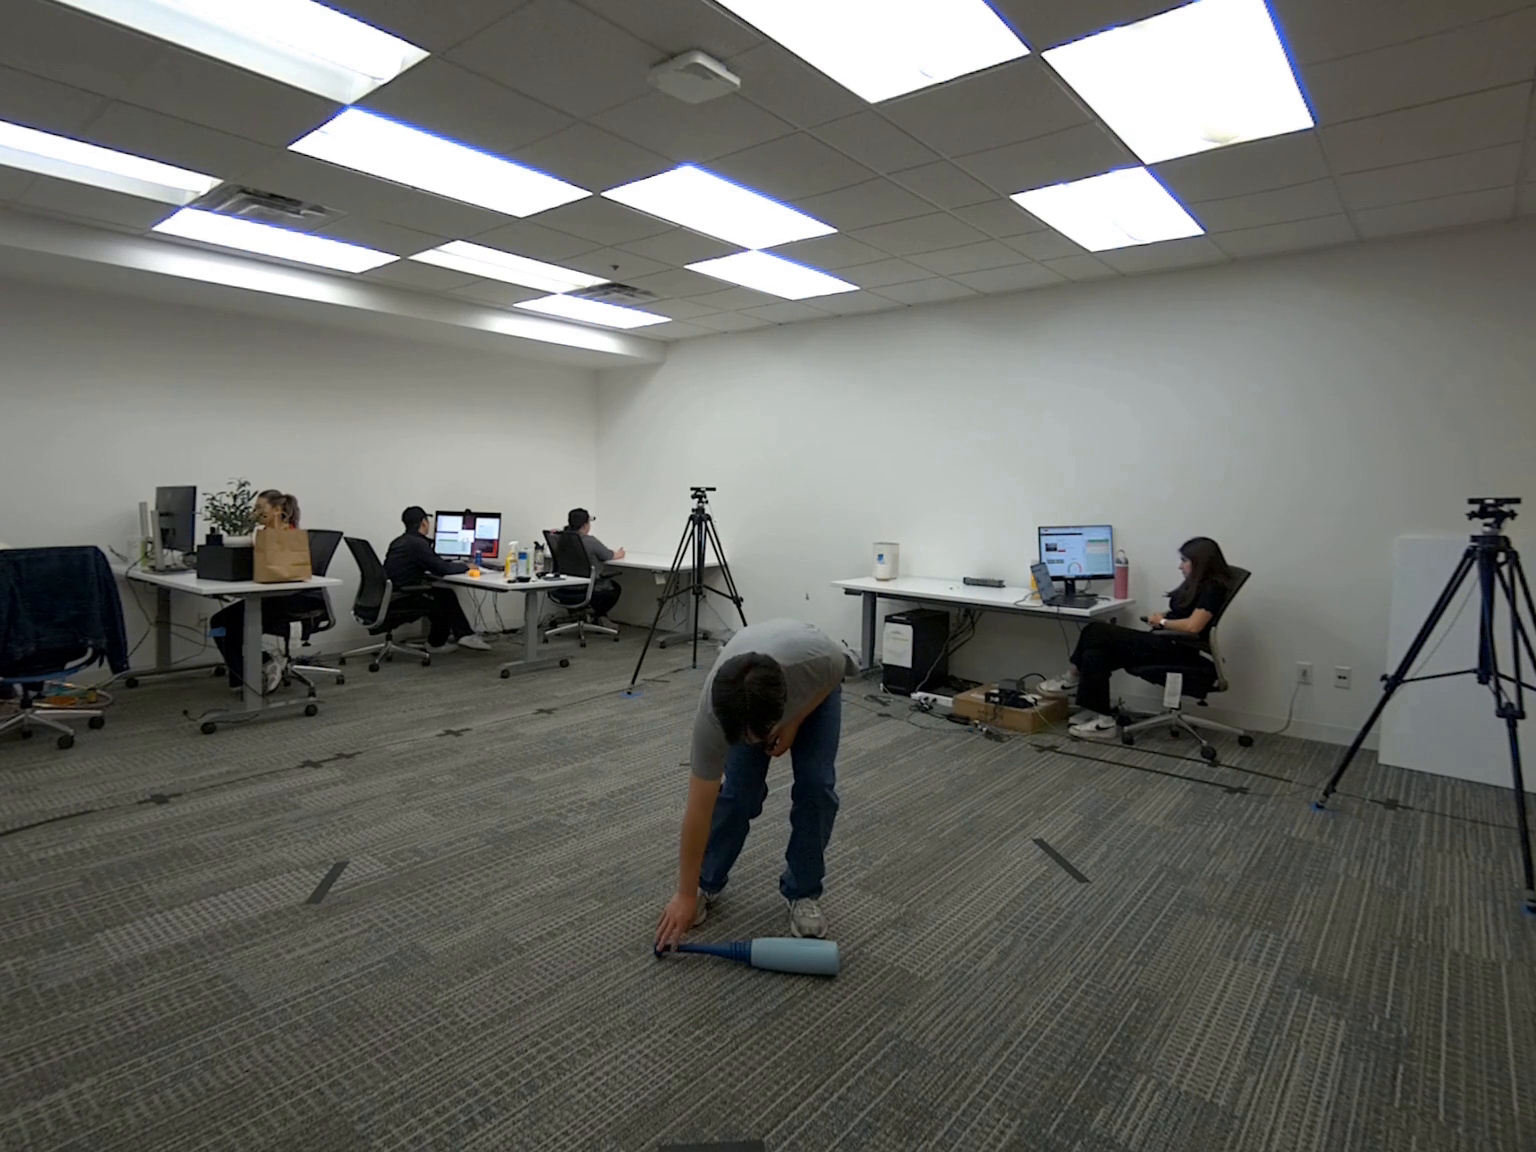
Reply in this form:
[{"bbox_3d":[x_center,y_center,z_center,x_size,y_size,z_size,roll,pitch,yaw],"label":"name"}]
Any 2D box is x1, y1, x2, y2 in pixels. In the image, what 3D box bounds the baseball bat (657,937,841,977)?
[{"bbox_3d":[-0.070,1.089,2.481,0.549,0.089,0.088,0,4,10],"label":"baseball bat"}]
